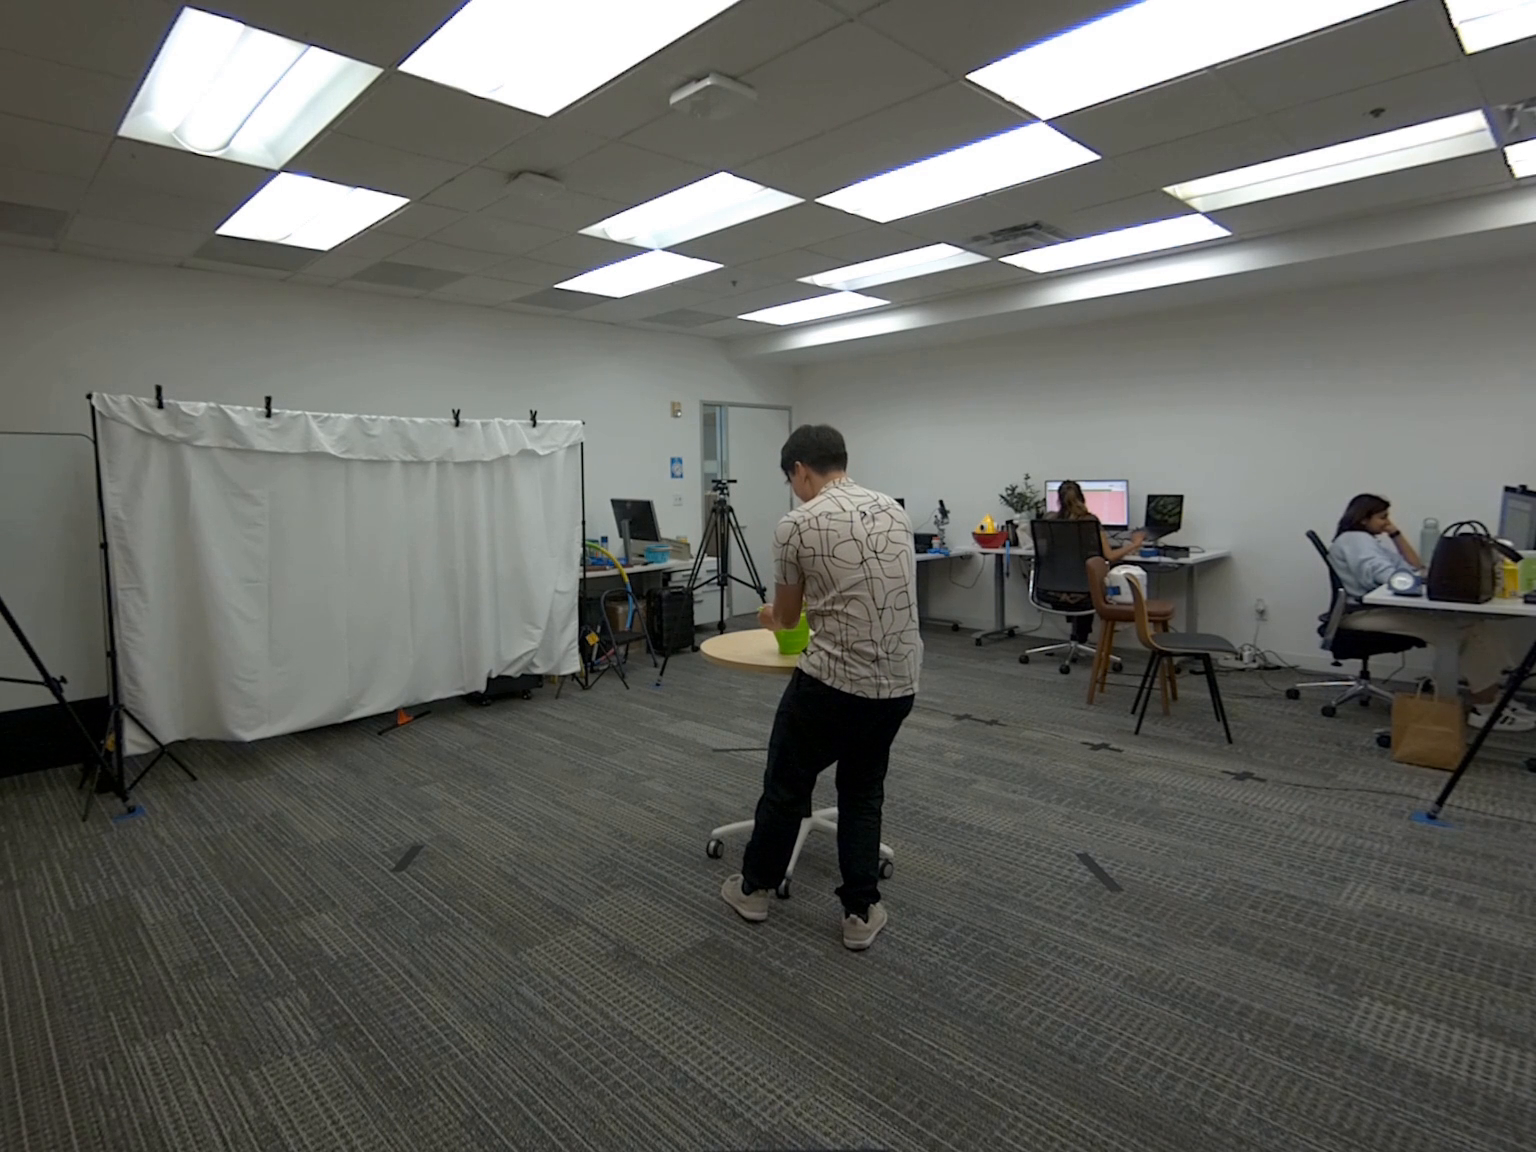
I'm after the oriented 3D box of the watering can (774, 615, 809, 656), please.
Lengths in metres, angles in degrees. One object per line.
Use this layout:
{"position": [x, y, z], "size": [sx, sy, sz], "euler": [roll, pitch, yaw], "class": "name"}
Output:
{"position": [0.059, 0.187, 3.005], "size": [0.271, 0.177, 0.100], "euler": [-6, -1, -40], "class": "watering can"}
